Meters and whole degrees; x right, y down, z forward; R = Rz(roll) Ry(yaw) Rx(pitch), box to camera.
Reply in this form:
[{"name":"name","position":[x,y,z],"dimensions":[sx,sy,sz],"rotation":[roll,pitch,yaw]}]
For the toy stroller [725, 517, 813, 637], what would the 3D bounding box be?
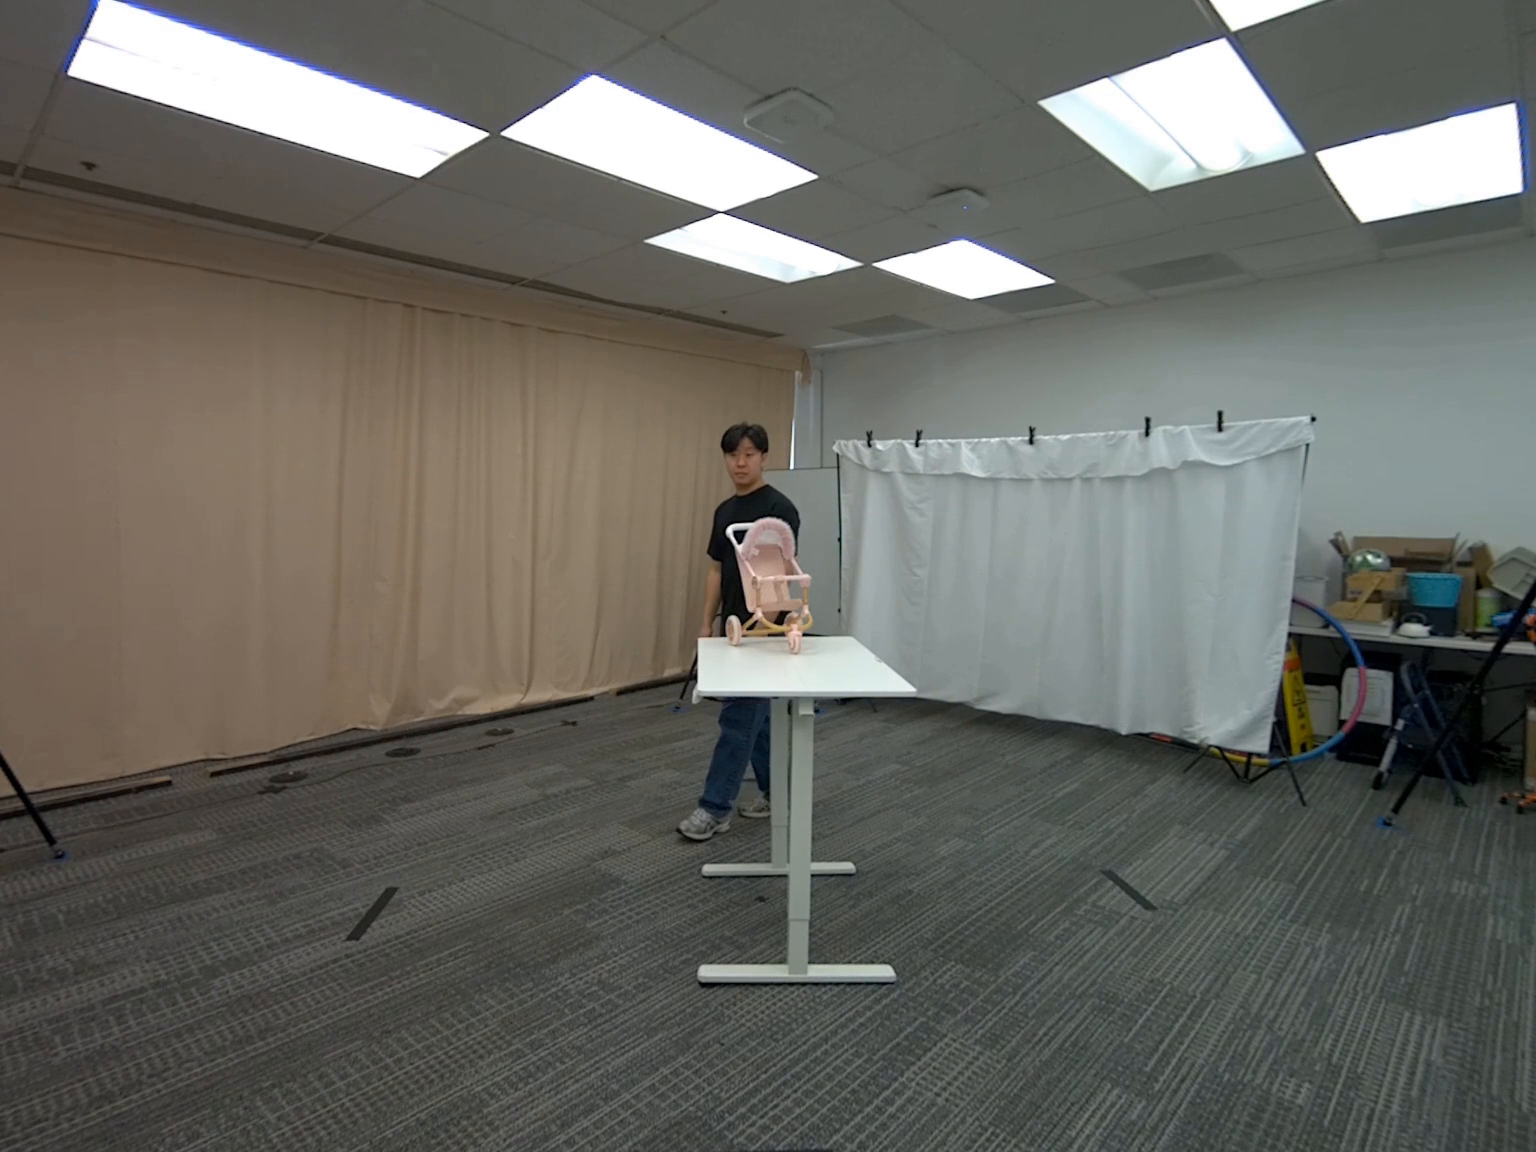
[{"name":"toy stroller","position":[0.020,0.030,3.058],"dimensions":[0.276,0.539,0.345],"rotation":[-2,-11,-19]}]
